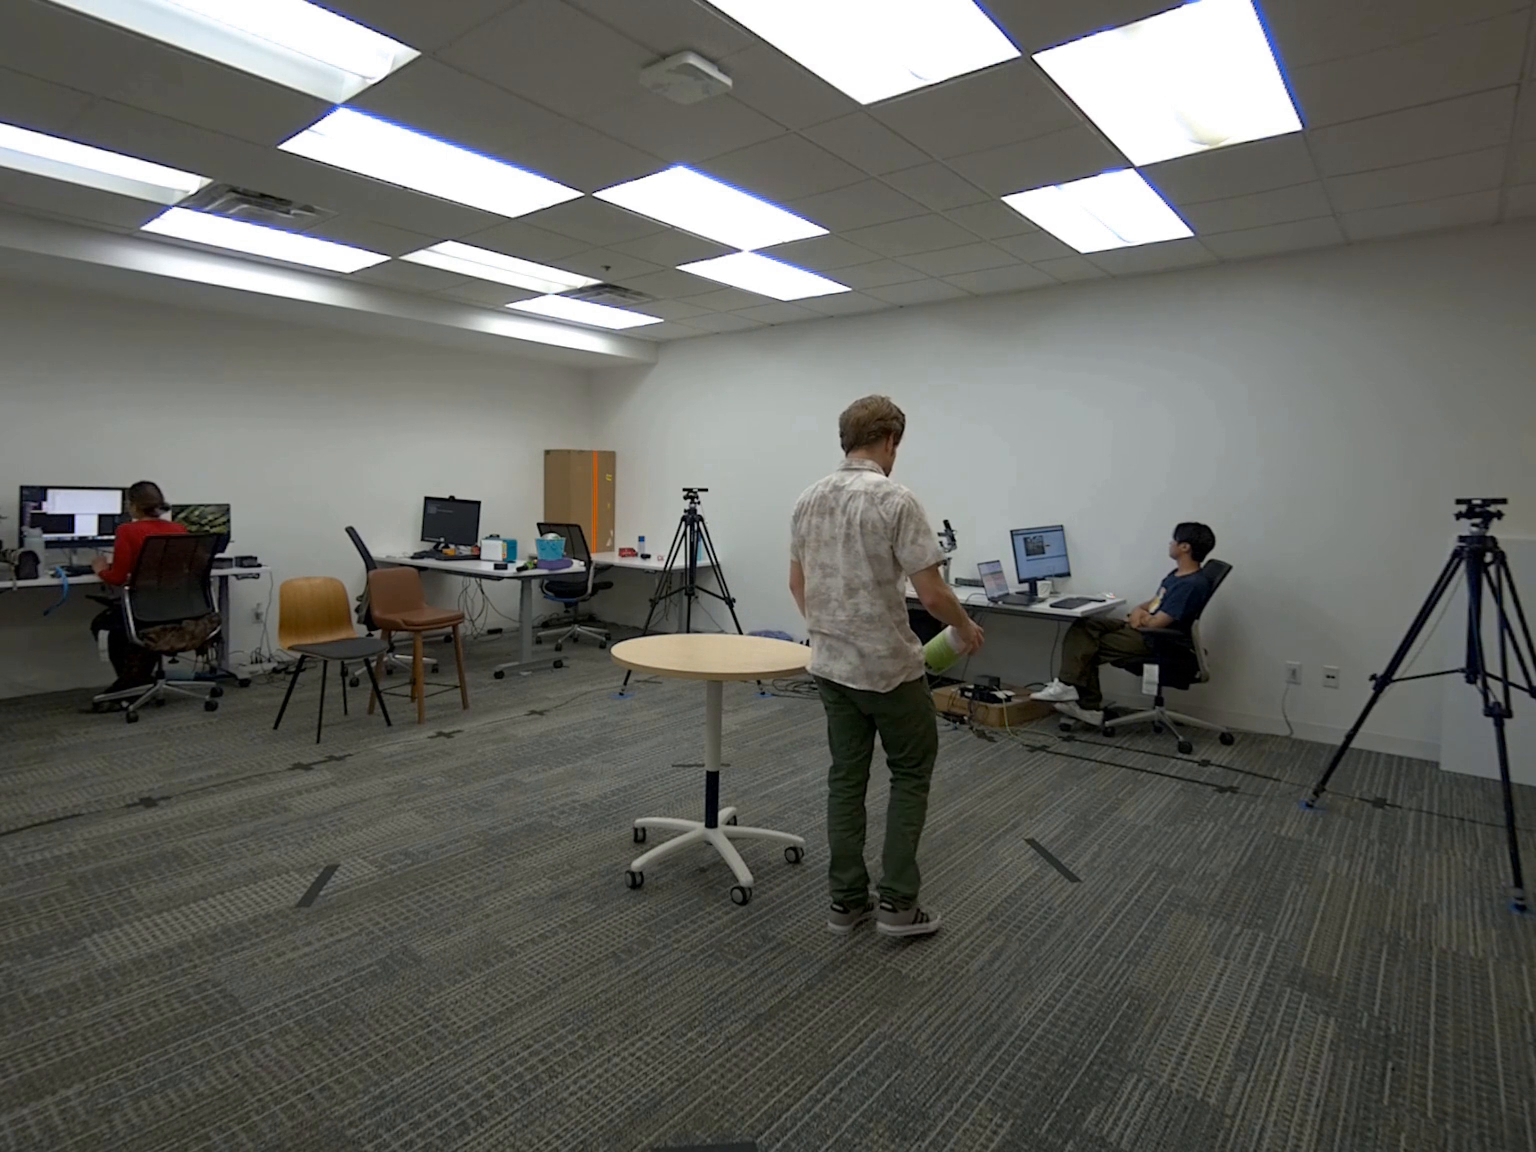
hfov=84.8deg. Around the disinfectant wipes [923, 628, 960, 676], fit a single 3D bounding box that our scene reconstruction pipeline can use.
[{"bbox_3d":[0.595,0.244,2.872,0.115,0.121,0.216,0,-29,-24],"label":"disinfectant wipes"}]
